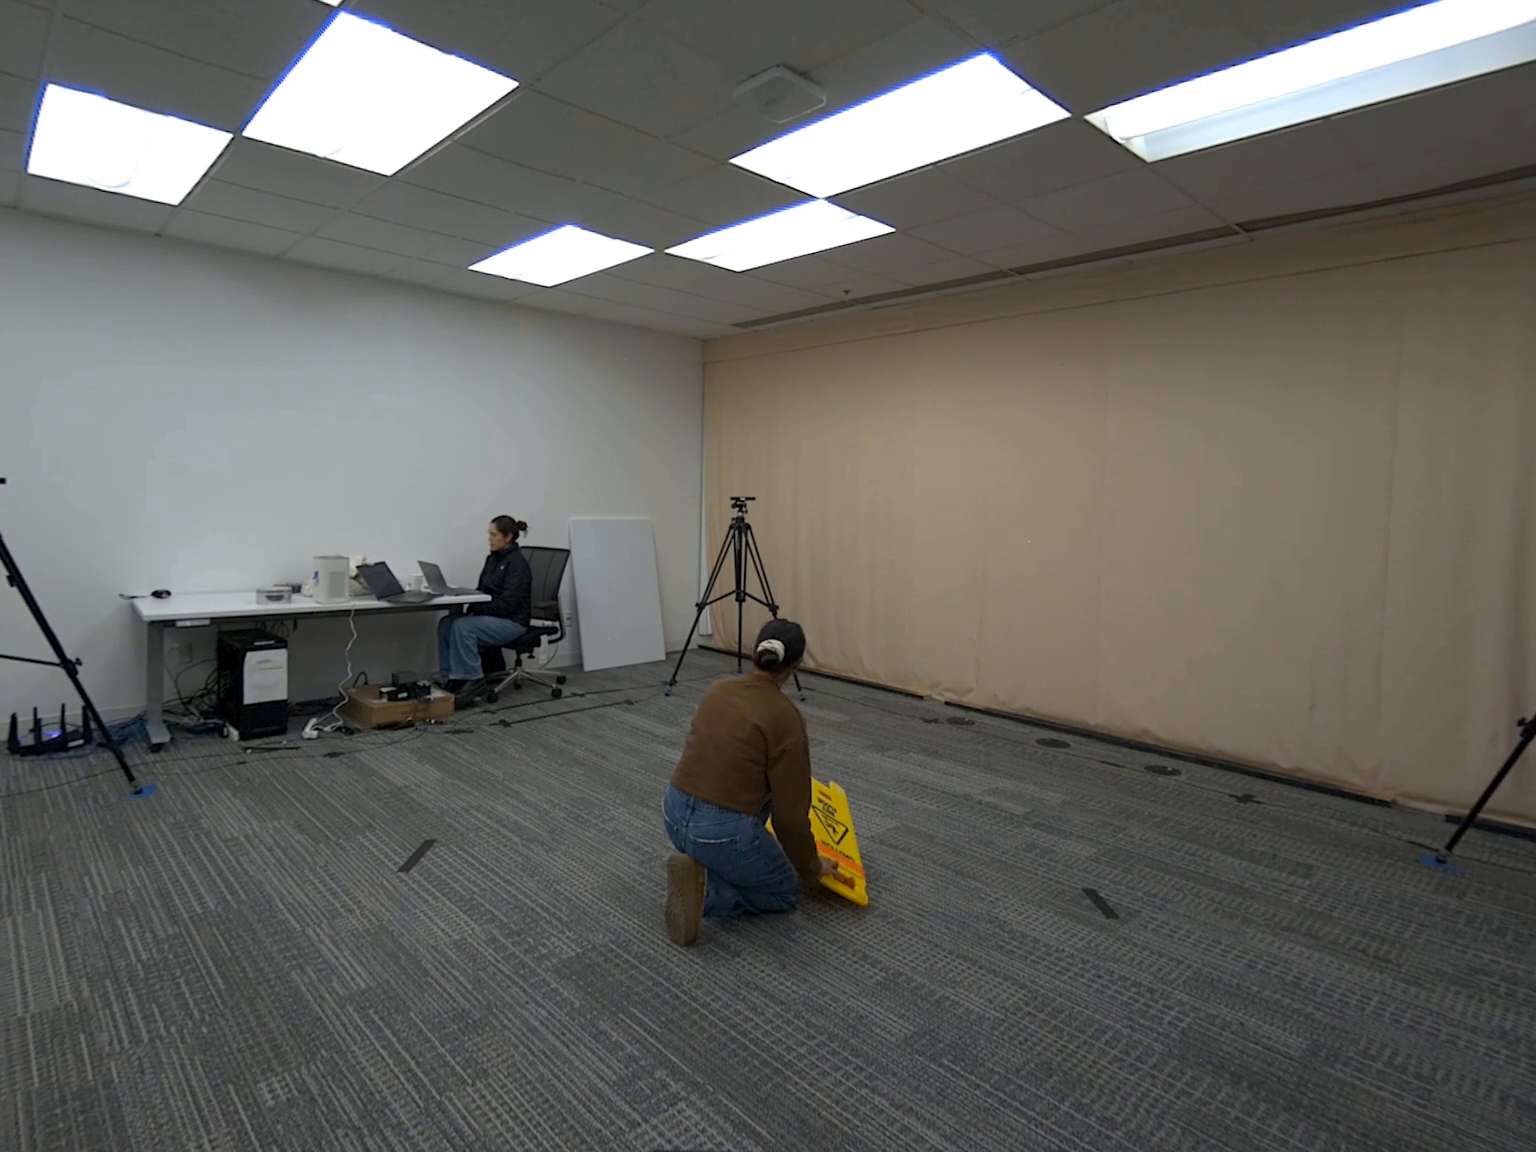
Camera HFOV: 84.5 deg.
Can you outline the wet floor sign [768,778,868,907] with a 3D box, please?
[{"bbox_3d":[0.183,0.986,3.109,0.278,0.289,0.657,32,6,-16],"label":"wet floor sign"}]
